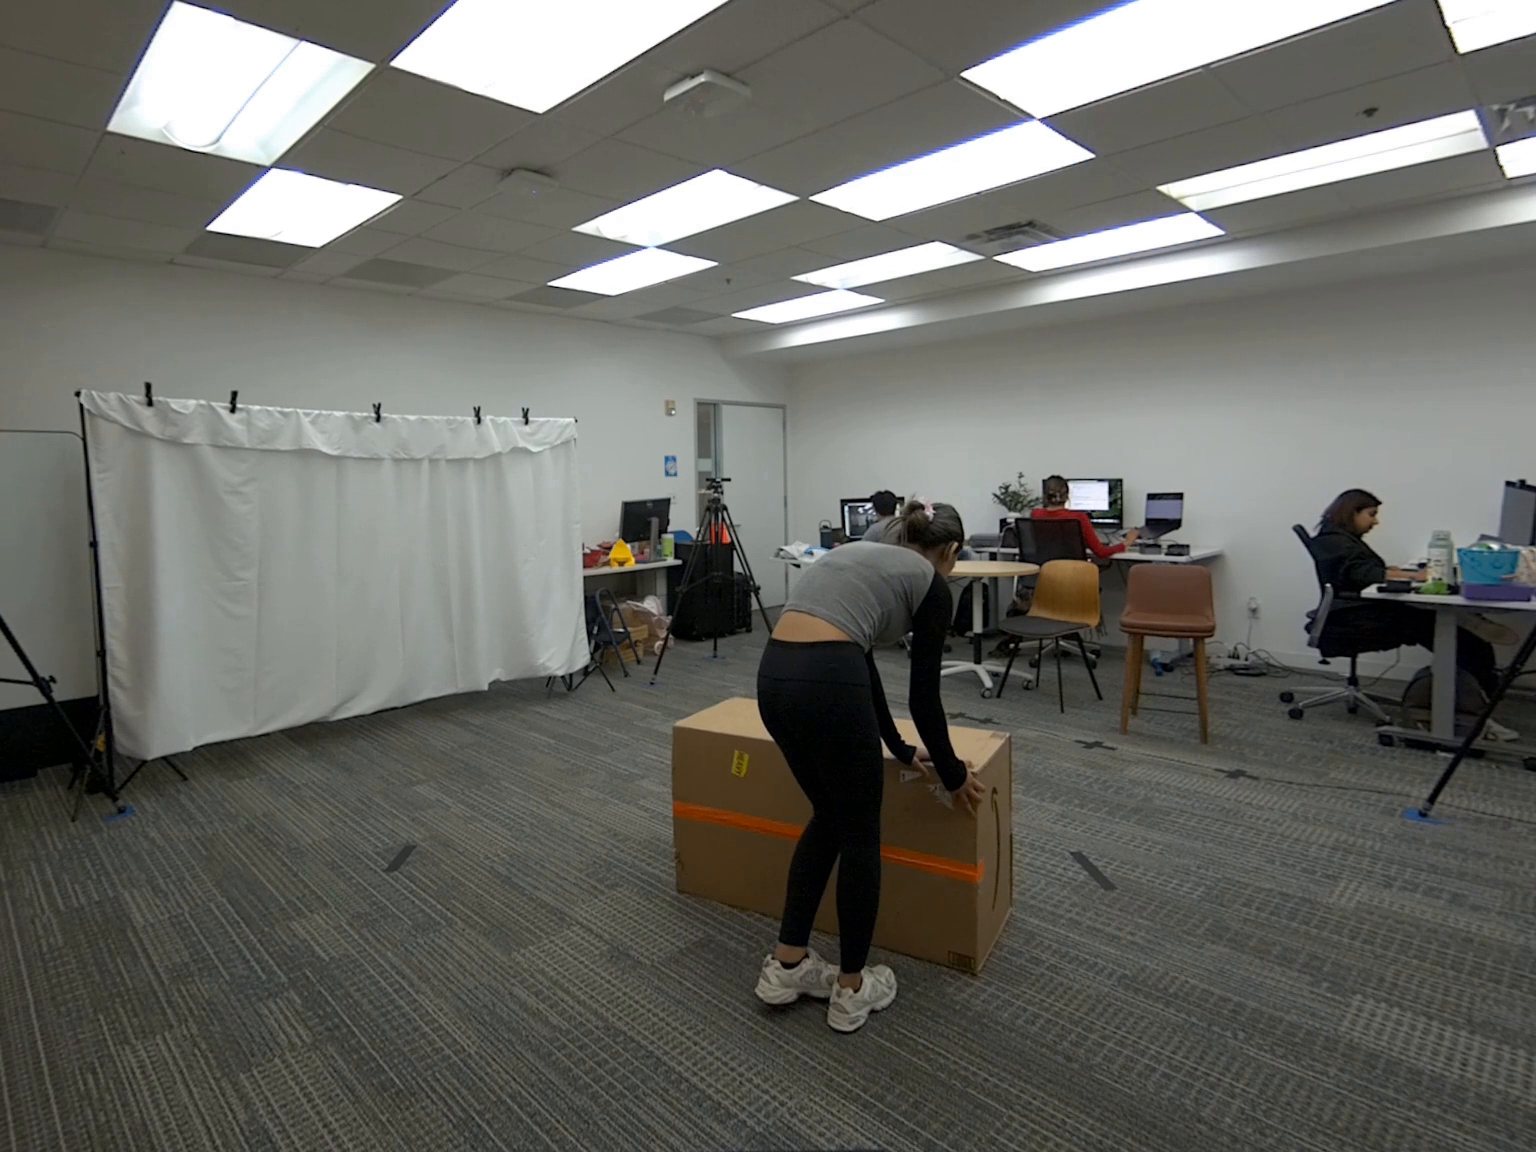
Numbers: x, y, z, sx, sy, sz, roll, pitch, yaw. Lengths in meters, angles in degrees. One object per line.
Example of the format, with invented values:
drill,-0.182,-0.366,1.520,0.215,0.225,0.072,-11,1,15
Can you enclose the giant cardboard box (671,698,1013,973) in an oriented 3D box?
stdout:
giant cardboard box,0.226,0.784,2.808,1.054,0.581,0.437,2,6,30
